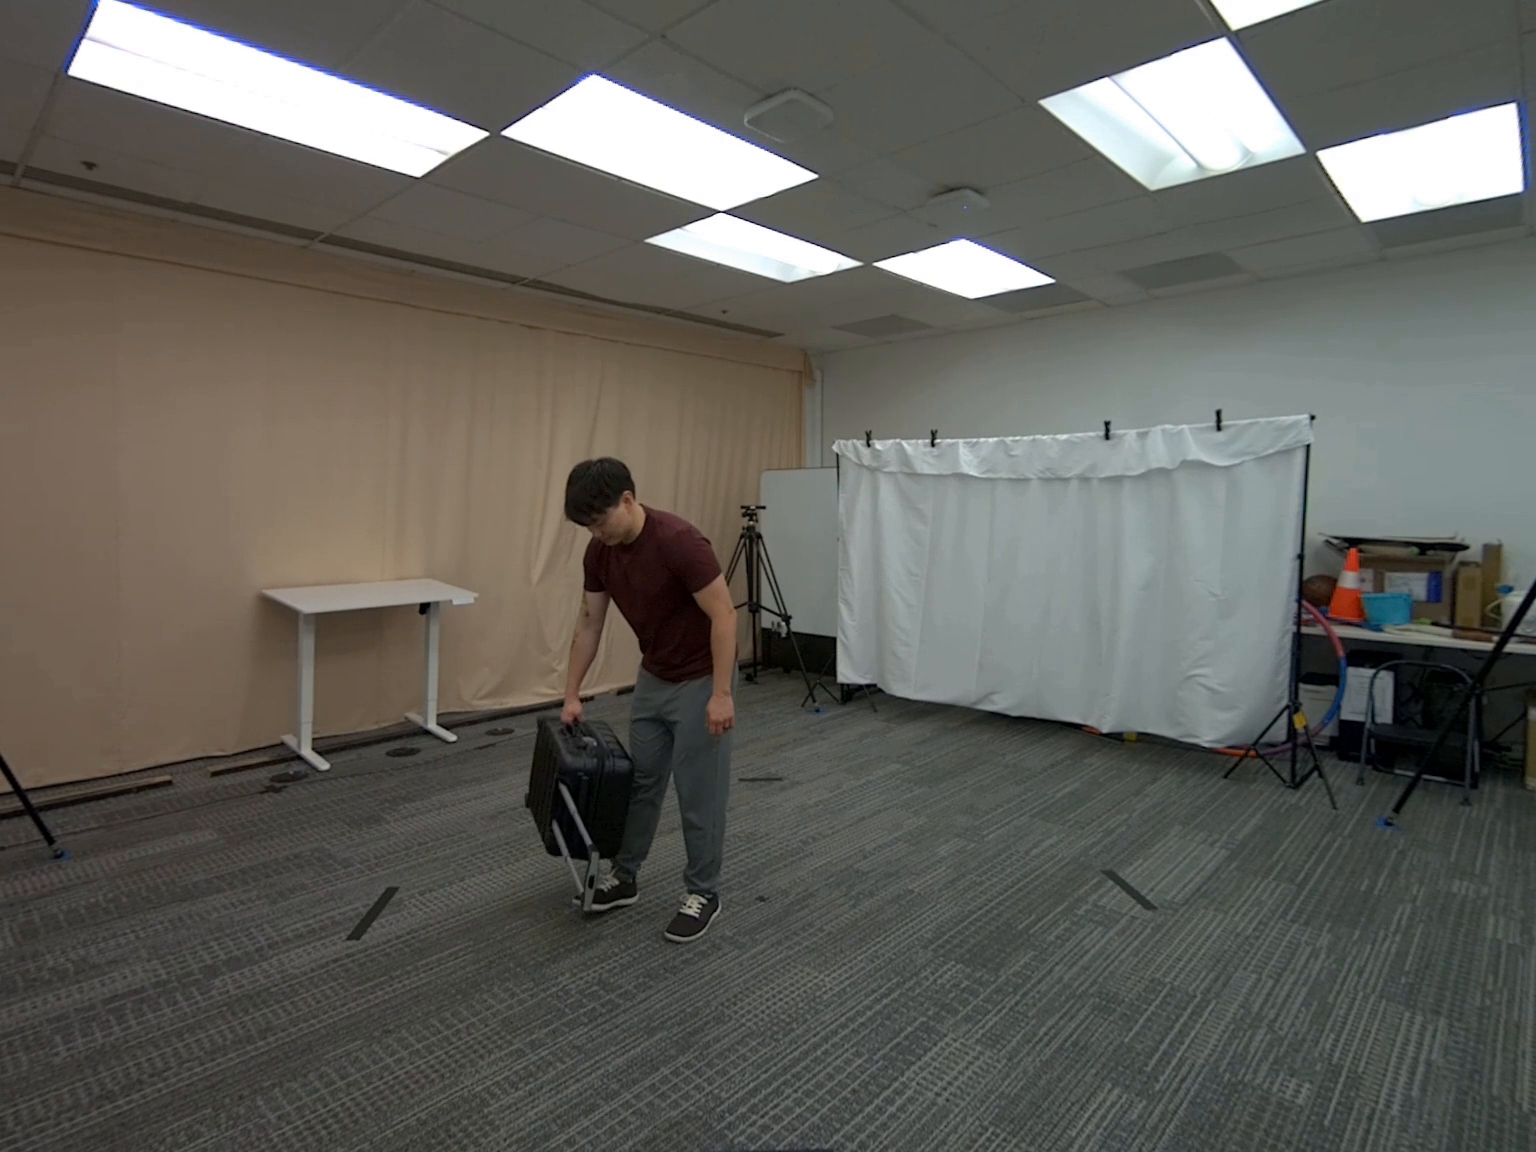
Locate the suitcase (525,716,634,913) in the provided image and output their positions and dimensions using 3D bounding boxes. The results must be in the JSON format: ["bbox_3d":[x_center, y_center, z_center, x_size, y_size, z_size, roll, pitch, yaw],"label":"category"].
[{"bbox_3d":[-0.568,0.735,2.669,0.251,0.383,1.004,9,4,-24],"label":"suitcase"}]
